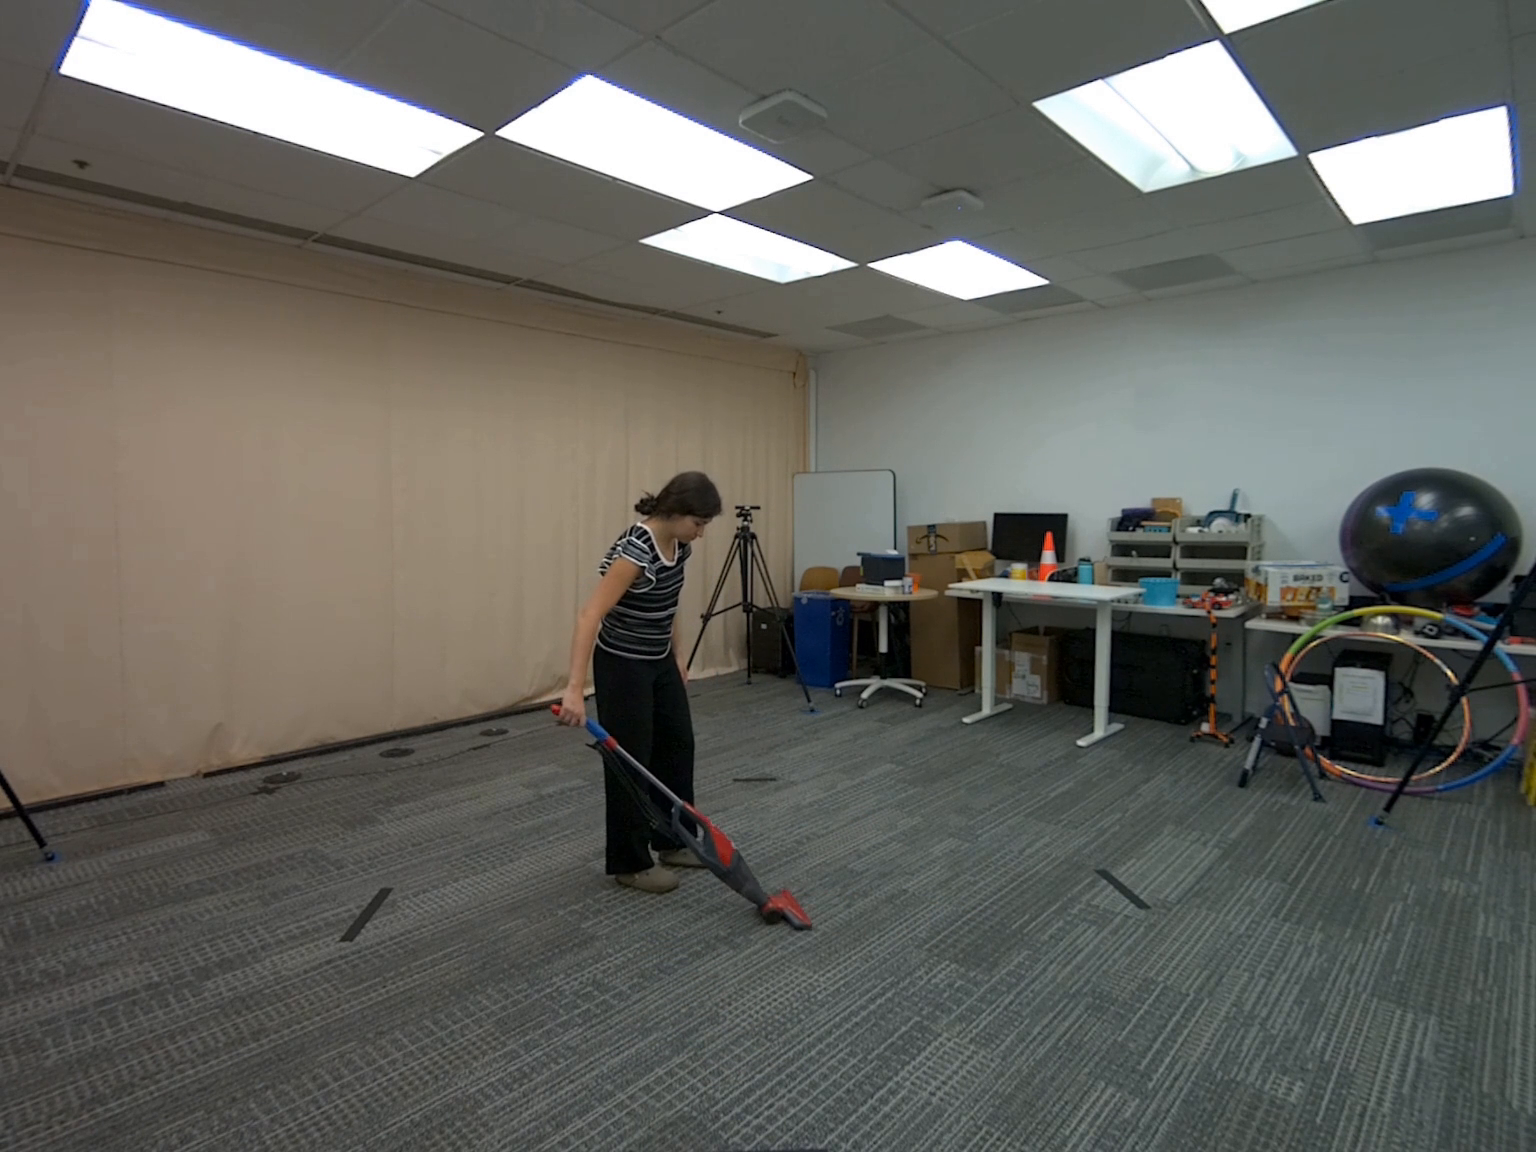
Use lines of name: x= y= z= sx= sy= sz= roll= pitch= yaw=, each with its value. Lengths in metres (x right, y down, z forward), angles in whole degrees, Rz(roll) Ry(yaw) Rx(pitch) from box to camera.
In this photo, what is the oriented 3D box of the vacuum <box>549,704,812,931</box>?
vacuum: x=-0.289 y=0.801 z=2.770 sx=1.033 sy=0.144 sz=0.257 roll=43 pitch=-8 yaw=-13
